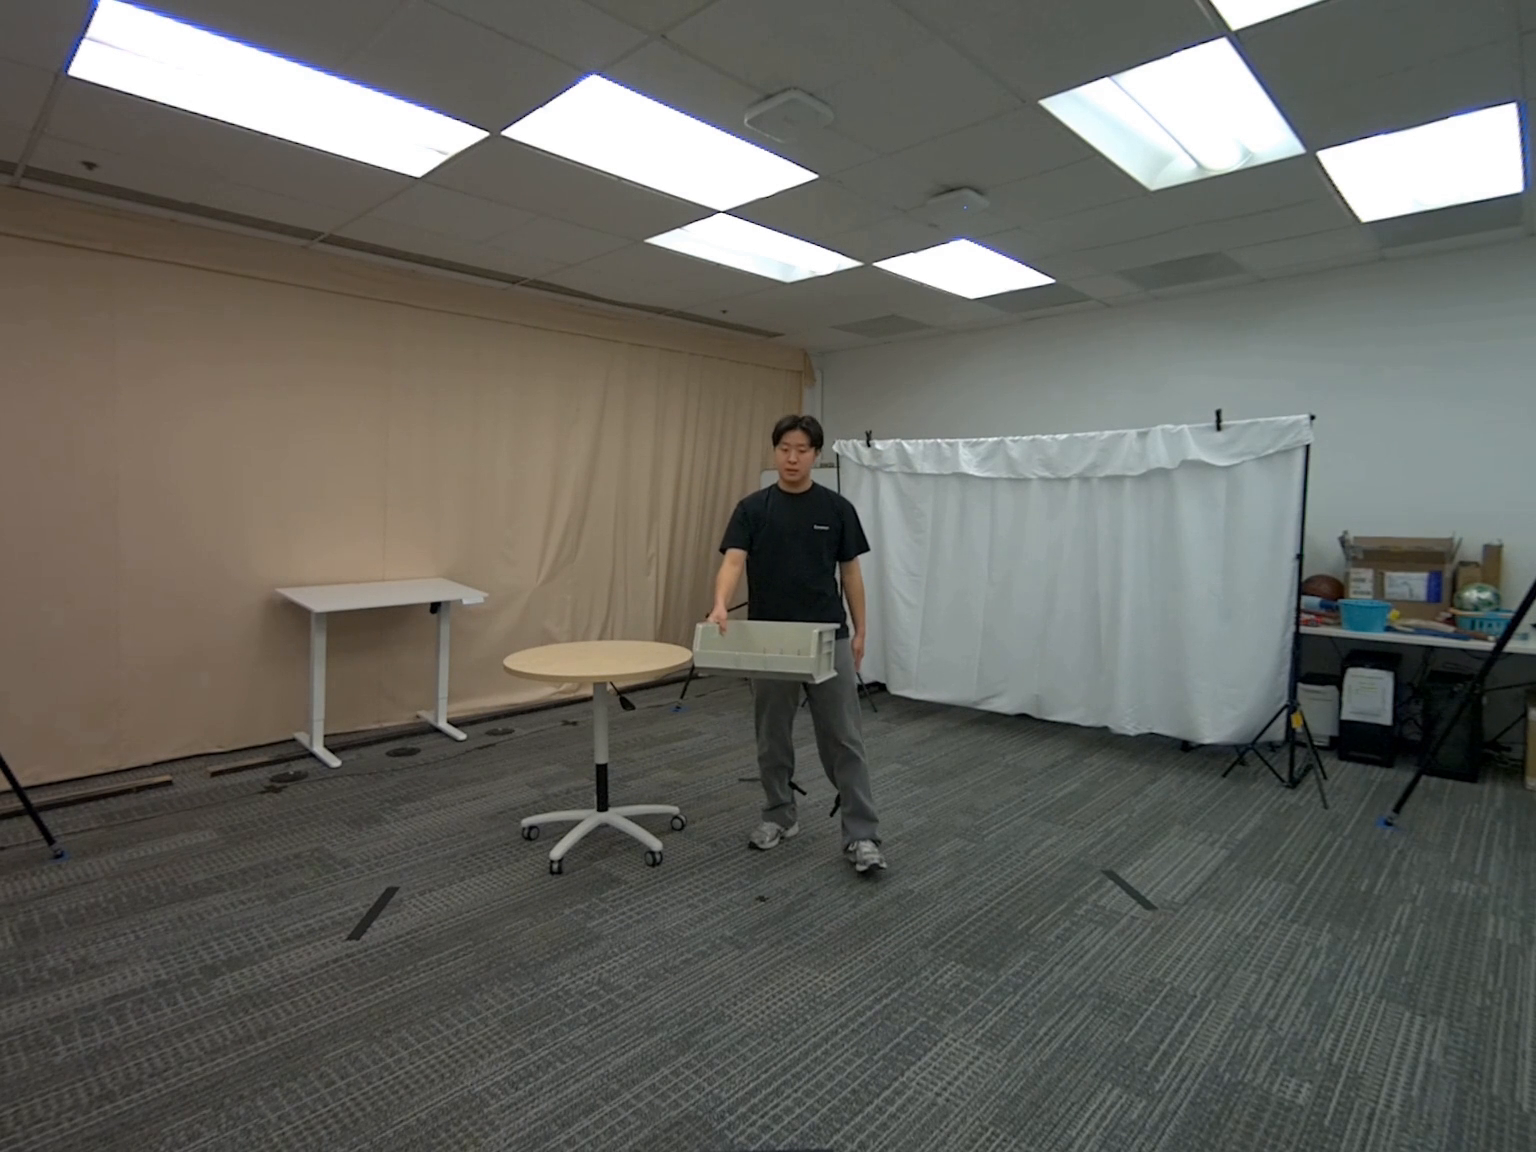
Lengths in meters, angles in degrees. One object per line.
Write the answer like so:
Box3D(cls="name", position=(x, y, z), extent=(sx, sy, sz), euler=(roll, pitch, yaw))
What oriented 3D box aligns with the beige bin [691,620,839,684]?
Box3D(cls="beige bin", position=(0.005, 0.260, 2.917), extent=(0.431, 0.189, 0.369), euler=(1, -3, 18))
